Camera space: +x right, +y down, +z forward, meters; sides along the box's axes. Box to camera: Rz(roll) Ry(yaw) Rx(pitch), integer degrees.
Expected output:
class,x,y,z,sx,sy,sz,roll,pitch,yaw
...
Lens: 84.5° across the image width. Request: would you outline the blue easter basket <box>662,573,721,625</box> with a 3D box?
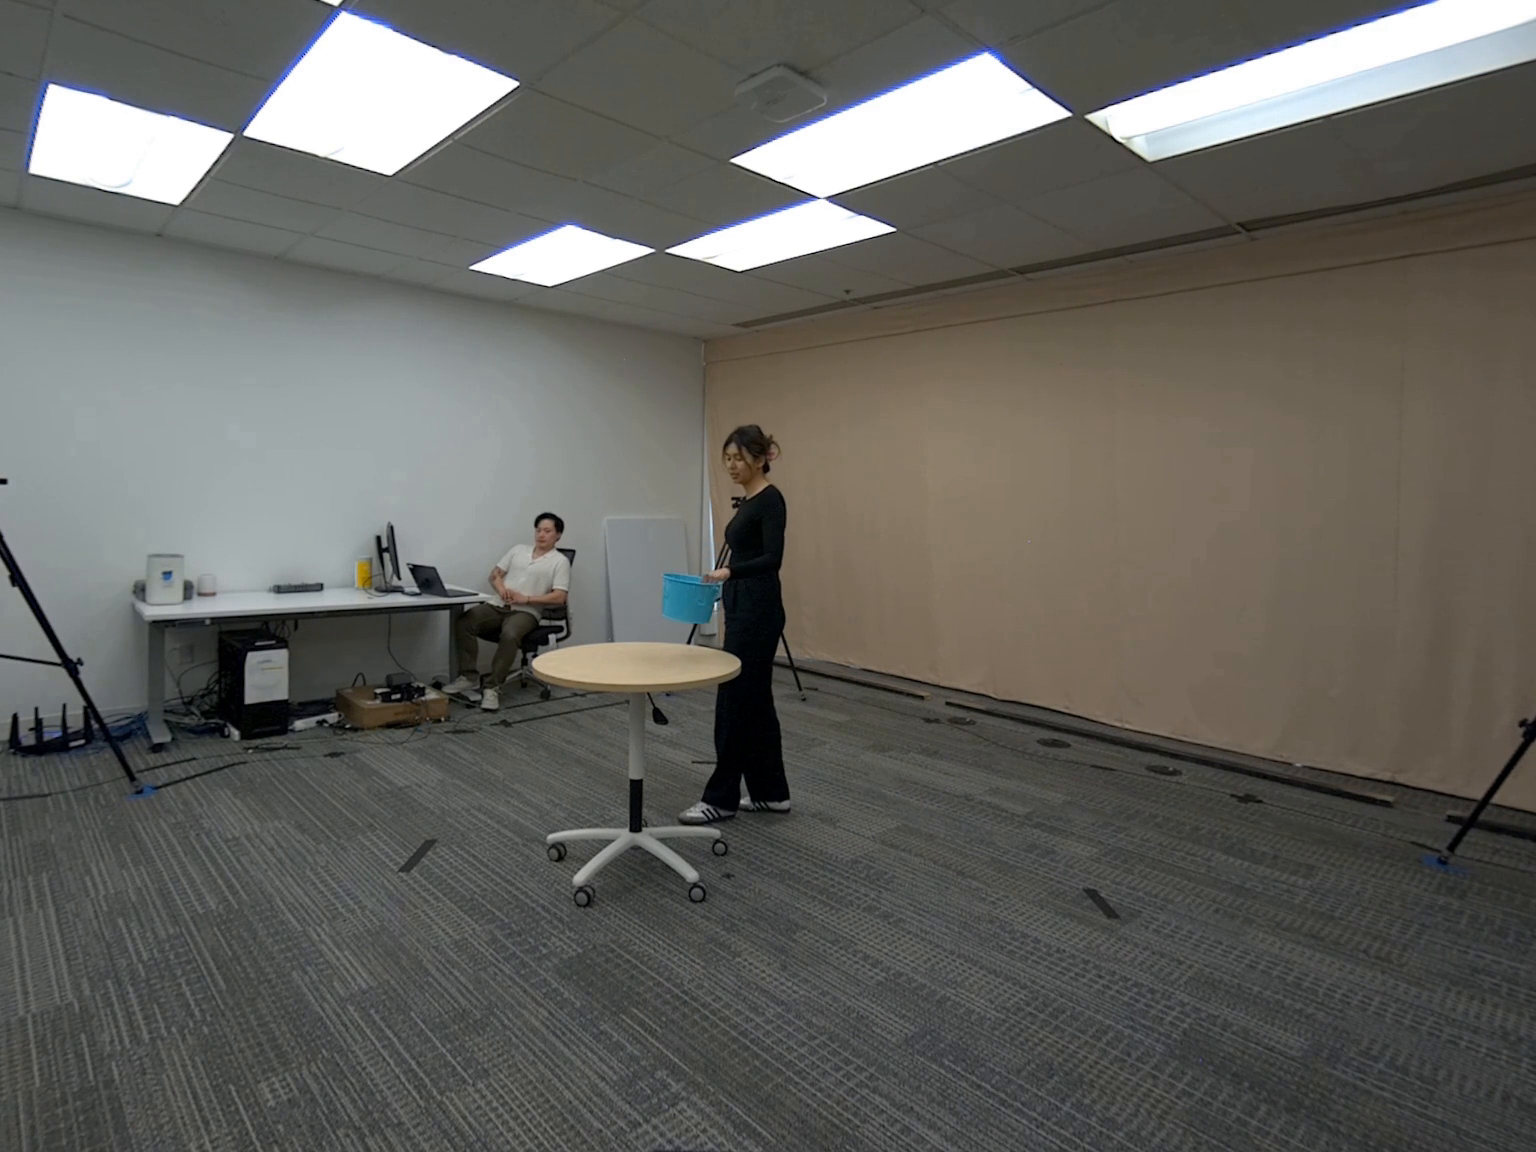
class,x,y,z,sx,sy,sz,roll,pitch,yaw
blue easter basket,-0.297,0.086,3.172,0.243,0.155,0.244,8,4,-2
